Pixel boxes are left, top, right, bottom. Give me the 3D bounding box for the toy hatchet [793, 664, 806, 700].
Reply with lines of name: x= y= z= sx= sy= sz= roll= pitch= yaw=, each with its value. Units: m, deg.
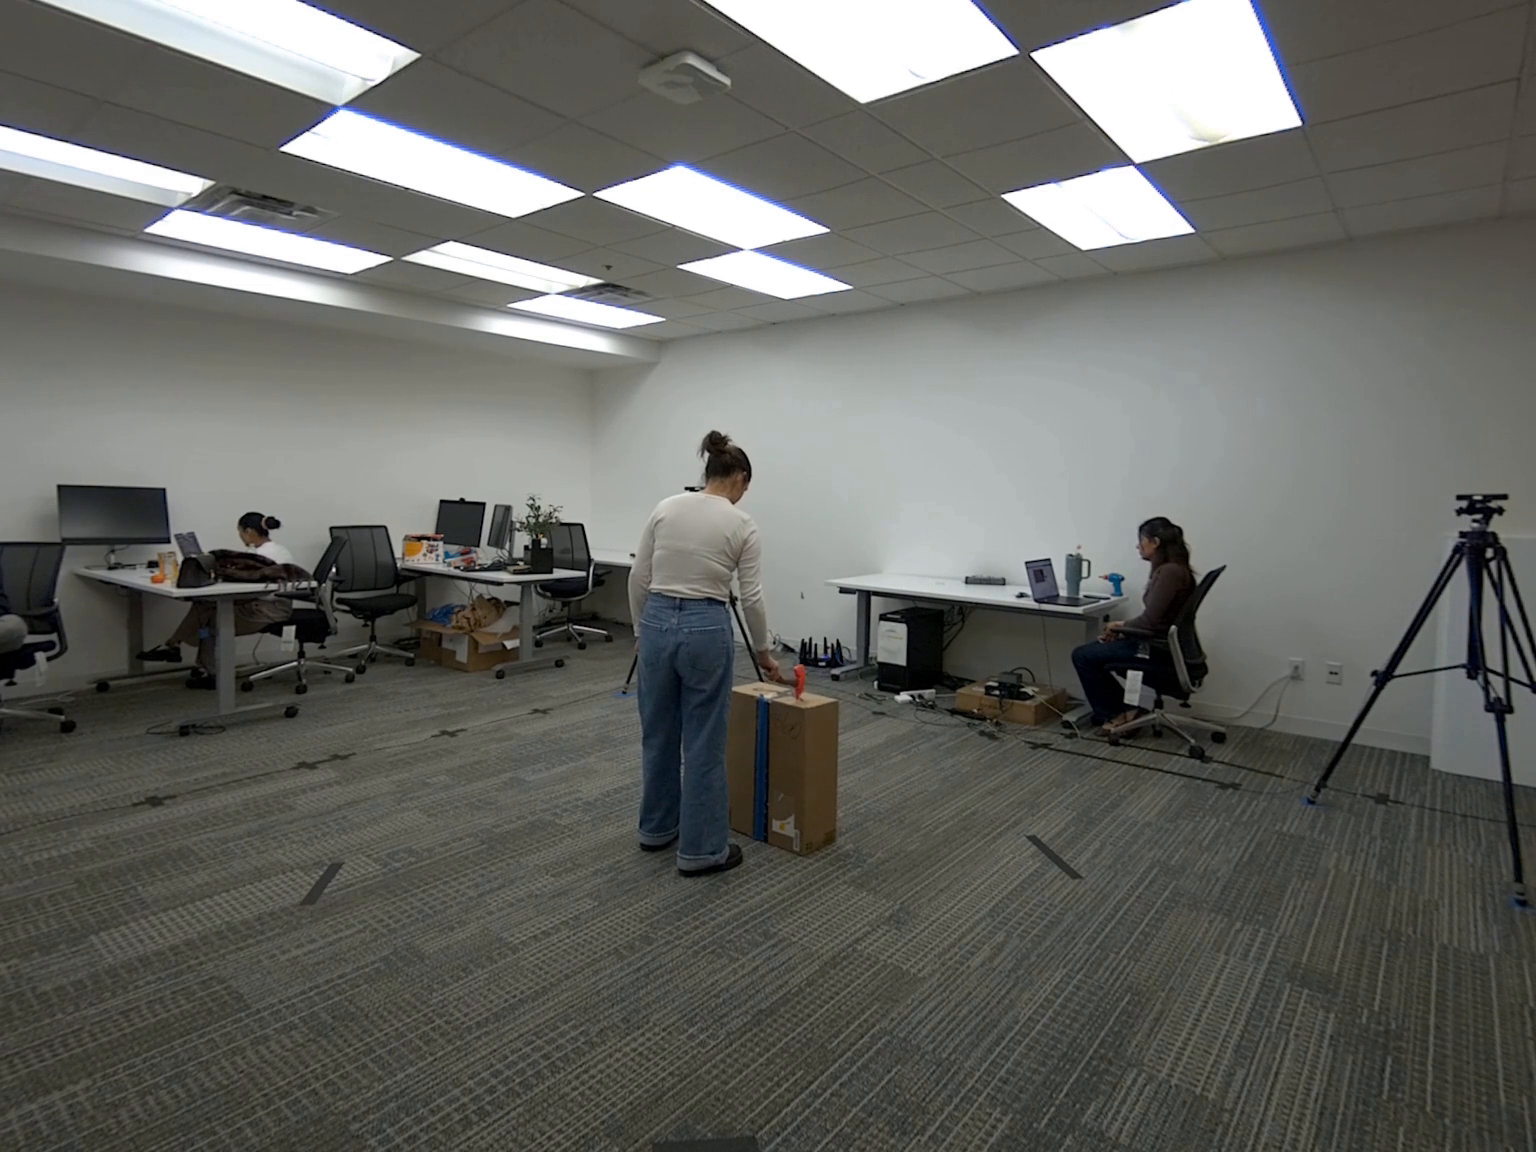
toy hatchet: x=0.074 y=0.365 z=3.282 sx=0.030 sy=0.132 sz=0.259 roll=7 pitch=-24 yaw=38
